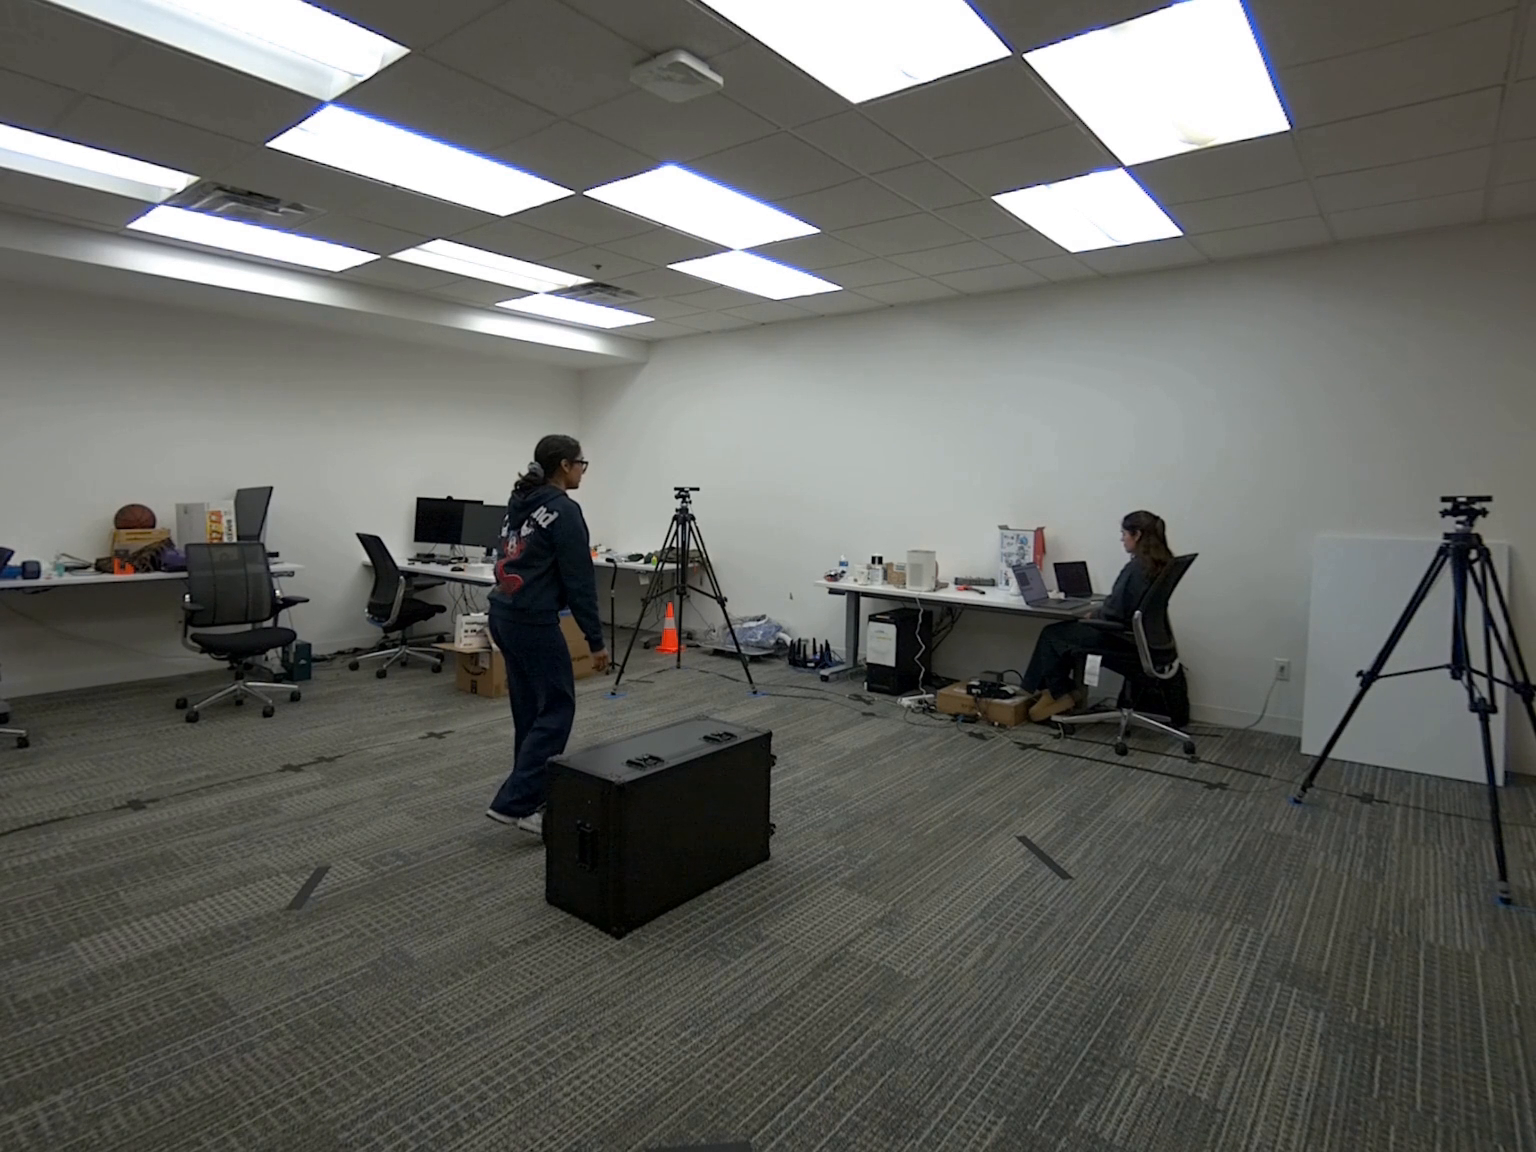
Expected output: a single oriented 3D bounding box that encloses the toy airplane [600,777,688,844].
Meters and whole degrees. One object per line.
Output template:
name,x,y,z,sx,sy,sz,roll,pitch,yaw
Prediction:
toy airplane,-0.510,0.953,3.449,0.258,0.156,0.252,1,2,29
